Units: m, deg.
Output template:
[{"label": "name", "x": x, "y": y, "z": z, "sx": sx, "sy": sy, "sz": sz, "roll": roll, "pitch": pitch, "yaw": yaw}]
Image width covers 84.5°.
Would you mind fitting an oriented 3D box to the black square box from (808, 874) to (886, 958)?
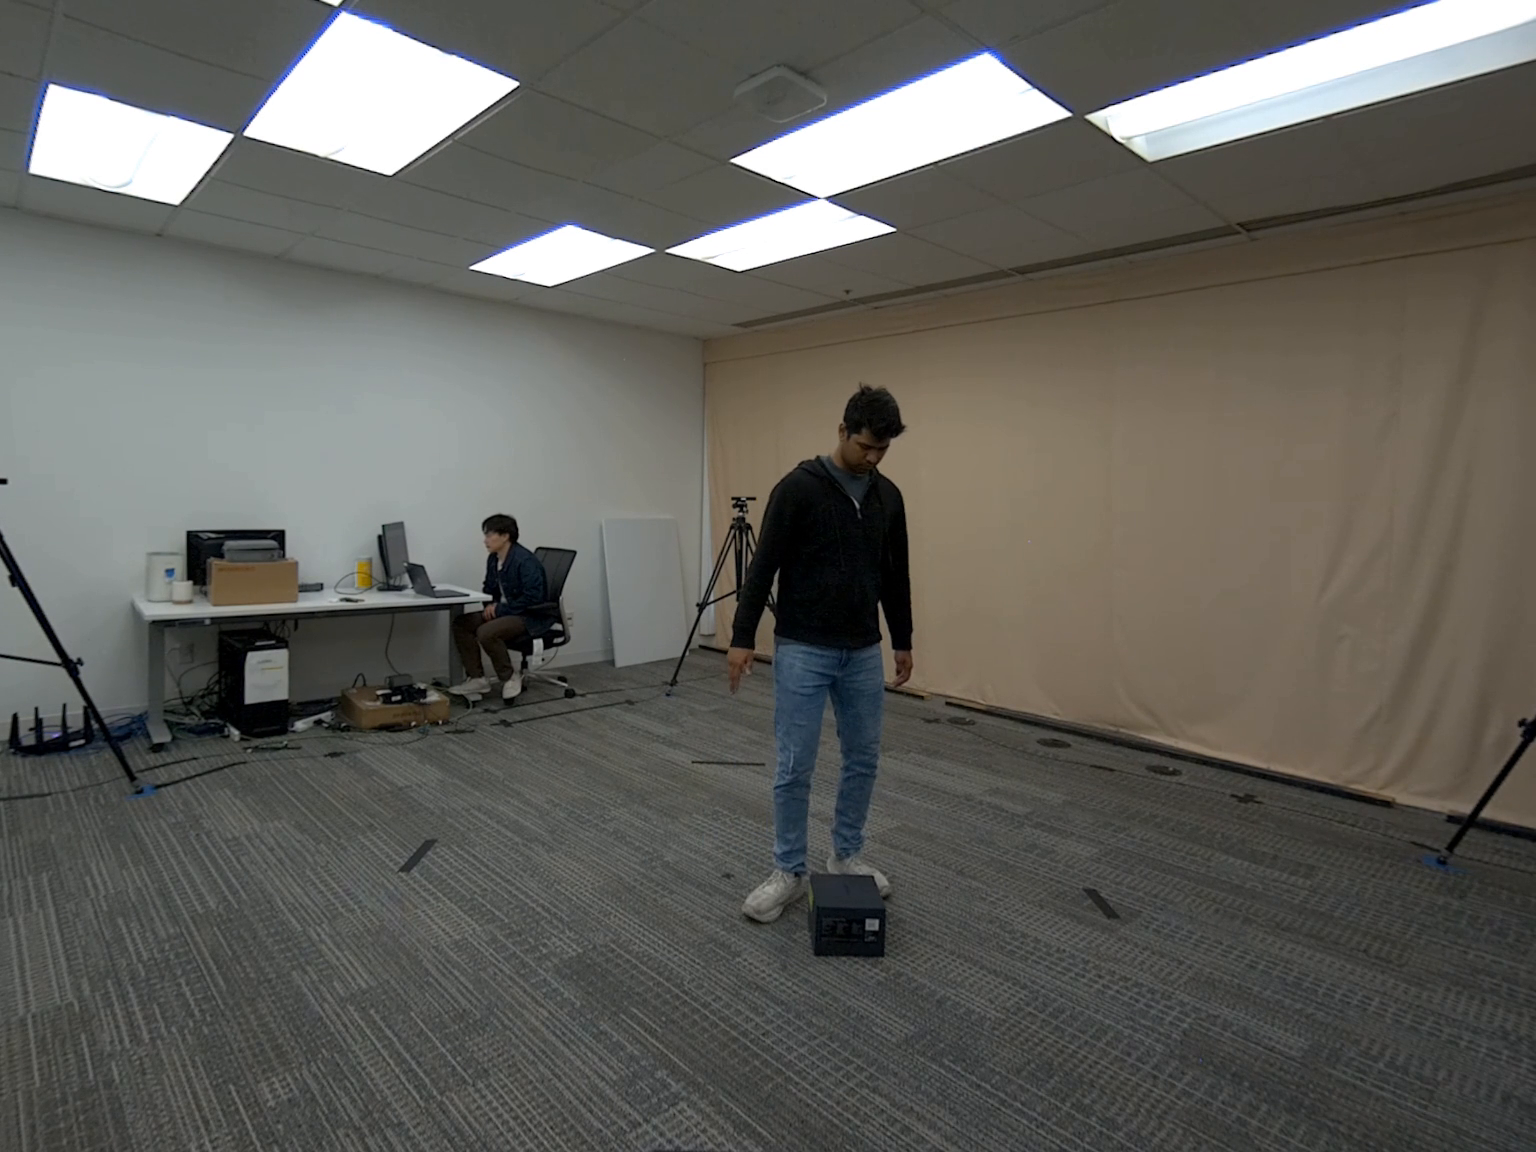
[{"label": "black square box", "x": 0.215, "y": 1.069, "z": 2.670, "sx": 0.217, "sy": 0.155, "sz": 0.229, "roll": 1, "pitch": 4, "yaw": -2}]
